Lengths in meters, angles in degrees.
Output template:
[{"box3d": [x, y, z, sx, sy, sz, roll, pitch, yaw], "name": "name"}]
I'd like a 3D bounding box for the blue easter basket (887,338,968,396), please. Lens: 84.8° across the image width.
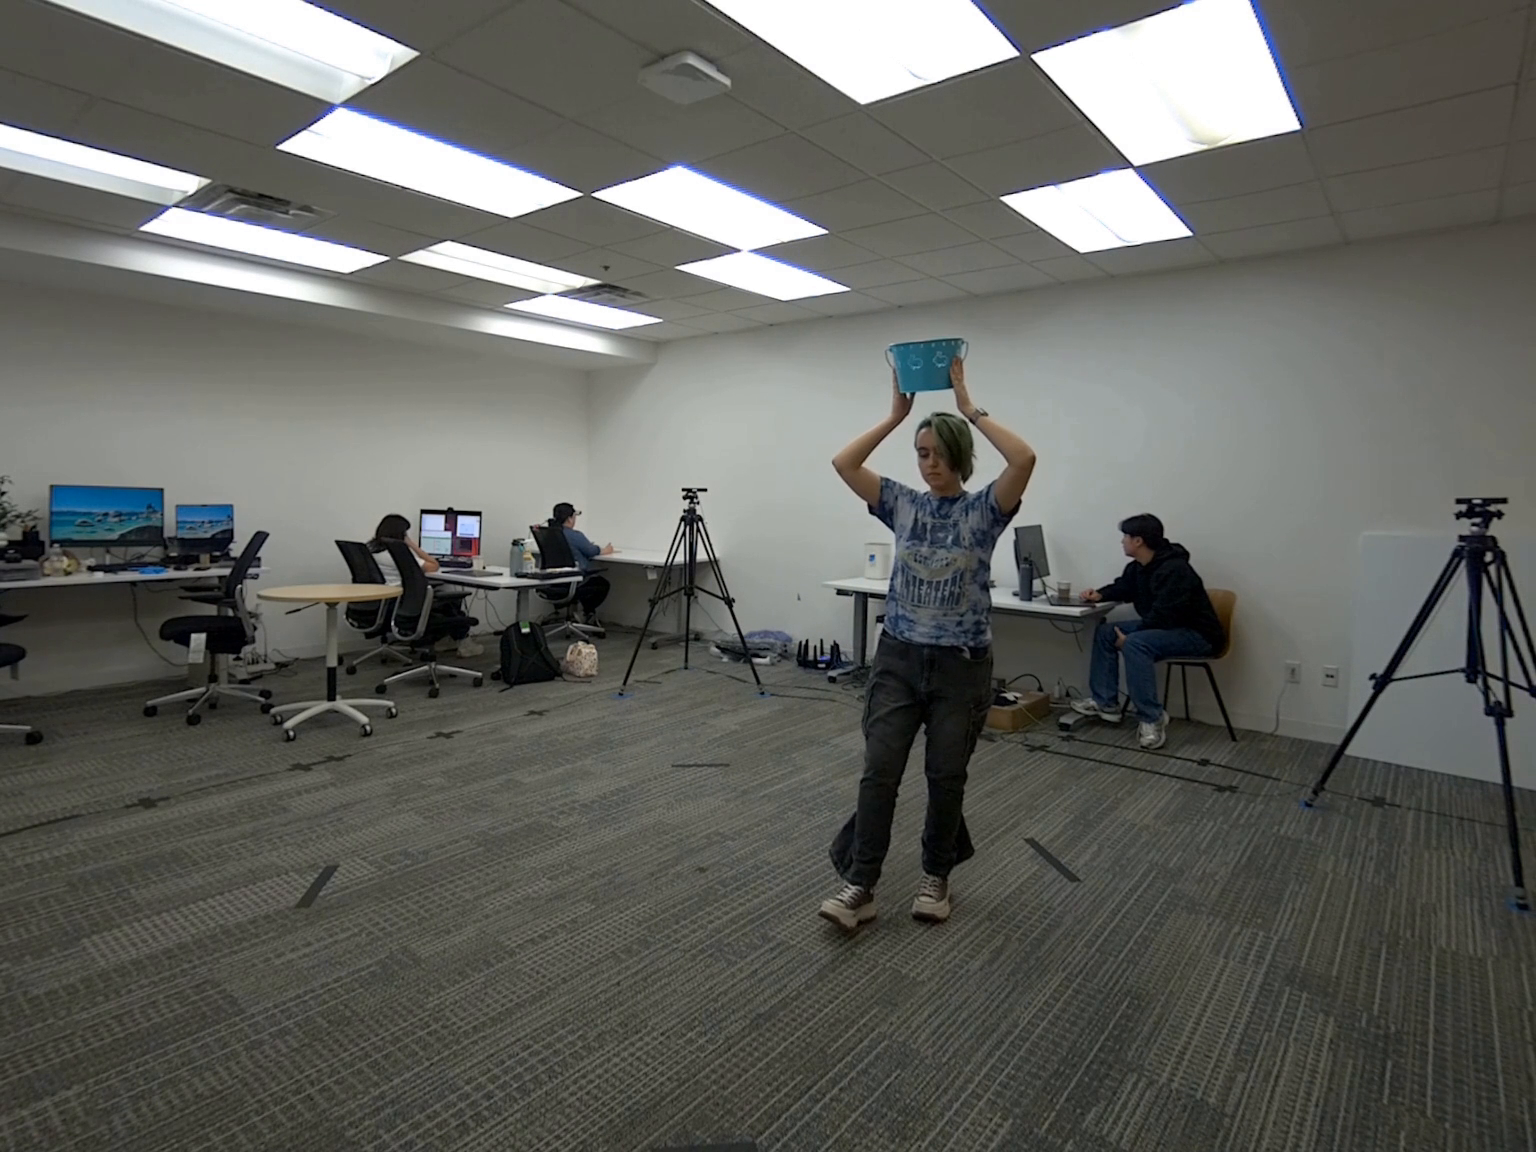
[{"box3d": [0.512, -0.662, 2.665, 0.243, 0.154, 0.246, -5, 12, -1], "name": "blue easter basket"}]
